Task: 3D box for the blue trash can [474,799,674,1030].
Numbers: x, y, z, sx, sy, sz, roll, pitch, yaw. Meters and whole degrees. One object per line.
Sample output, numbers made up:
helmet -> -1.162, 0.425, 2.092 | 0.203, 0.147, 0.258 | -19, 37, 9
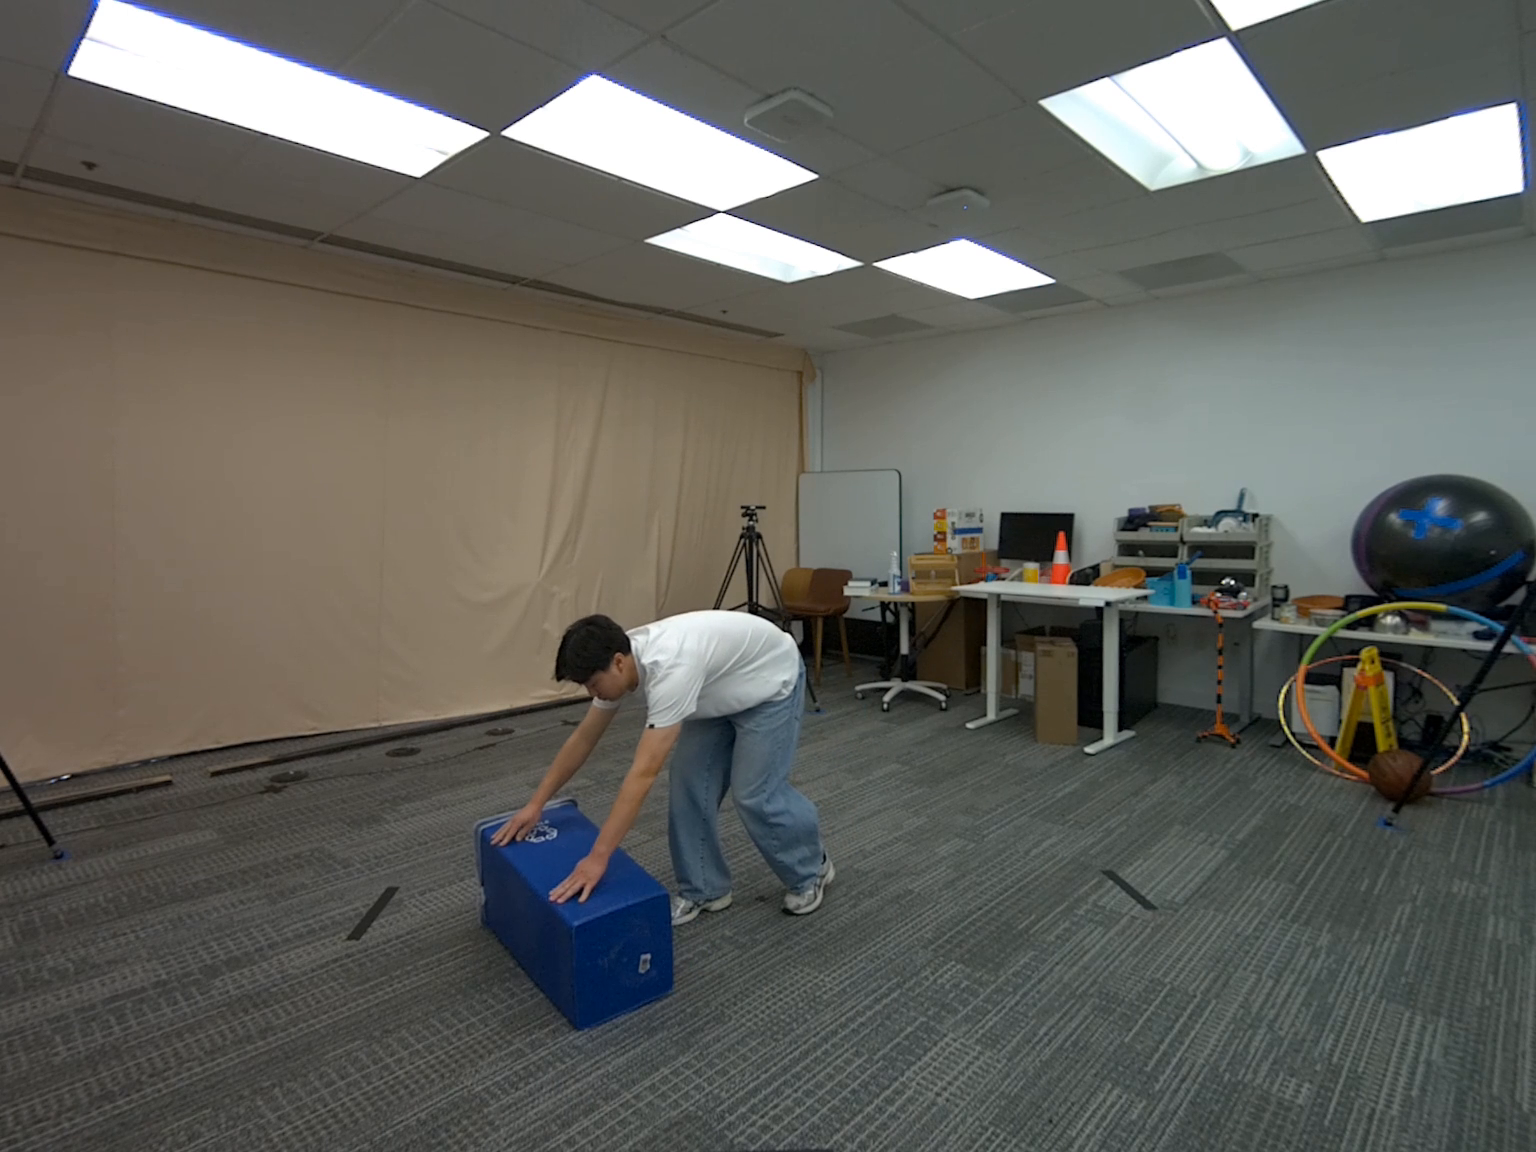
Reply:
blue trash can -> -0.603, 1.004, 2.586 | 0.367, 0.373, 0.737 | -4, 8, -35
